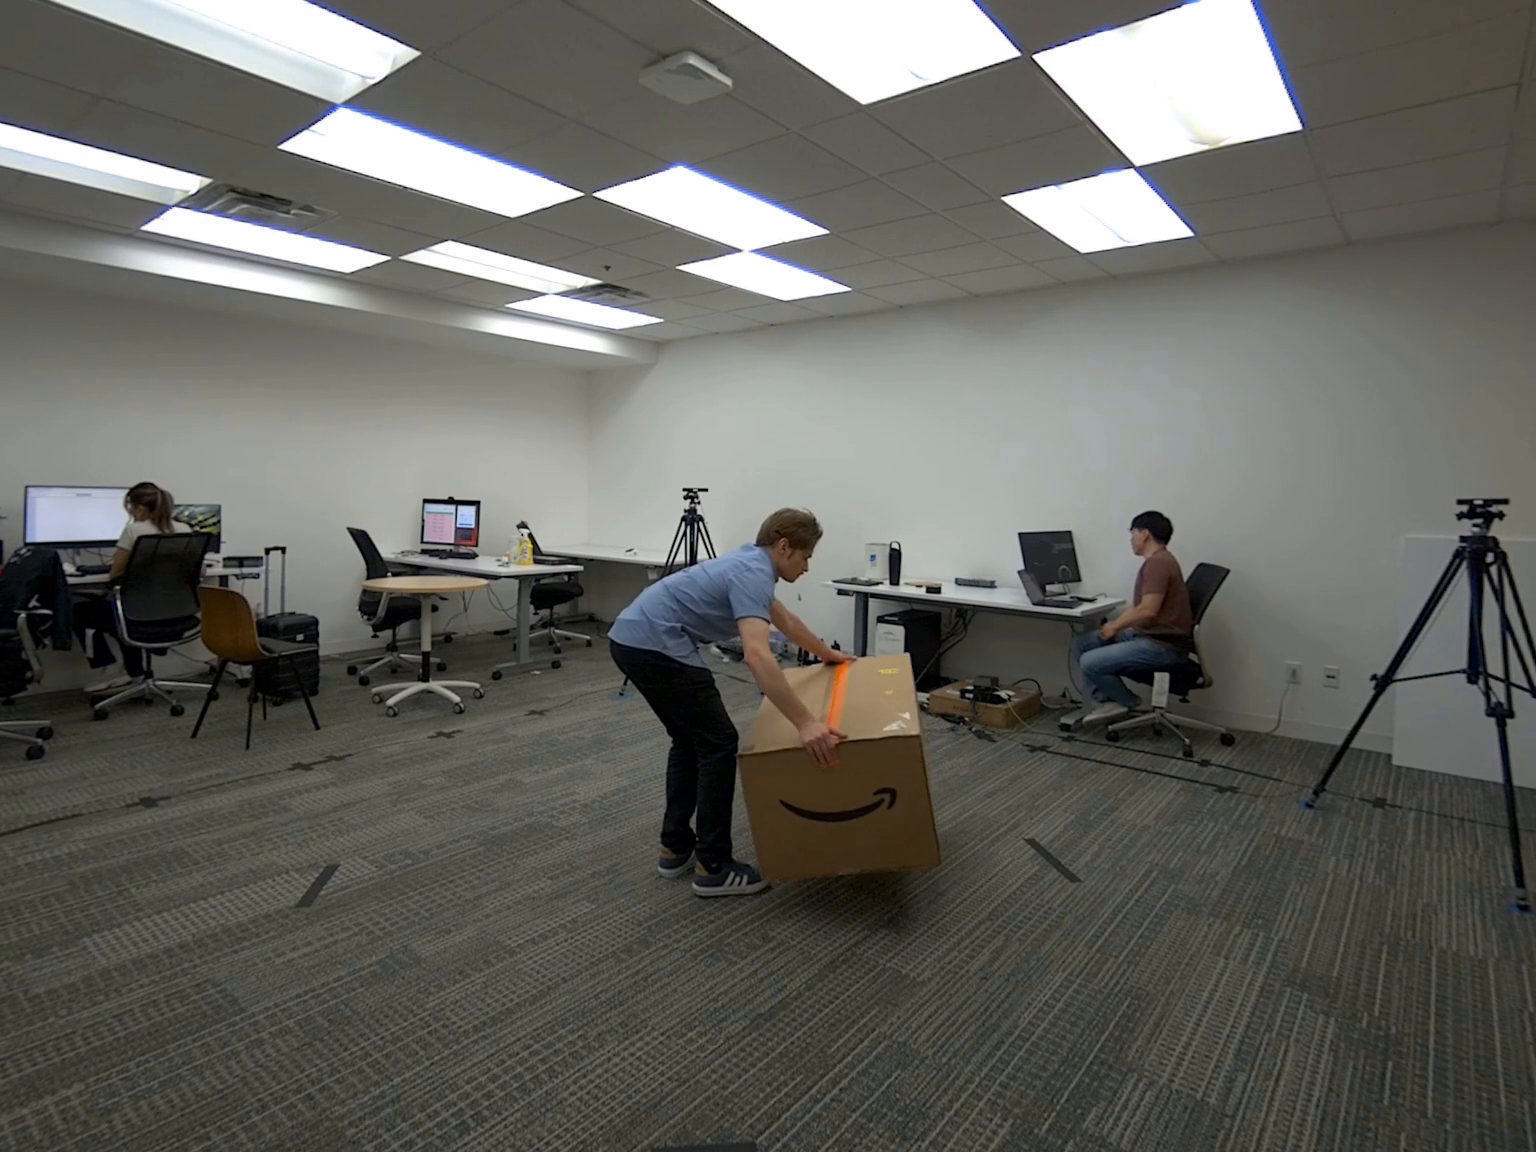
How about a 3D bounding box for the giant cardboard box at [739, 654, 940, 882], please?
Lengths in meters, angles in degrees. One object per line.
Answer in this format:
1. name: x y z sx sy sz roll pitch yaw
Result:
1. giant cardboard box: 0.282 0.651 3.151 0.589 0.444 1.024 -10 7 10
